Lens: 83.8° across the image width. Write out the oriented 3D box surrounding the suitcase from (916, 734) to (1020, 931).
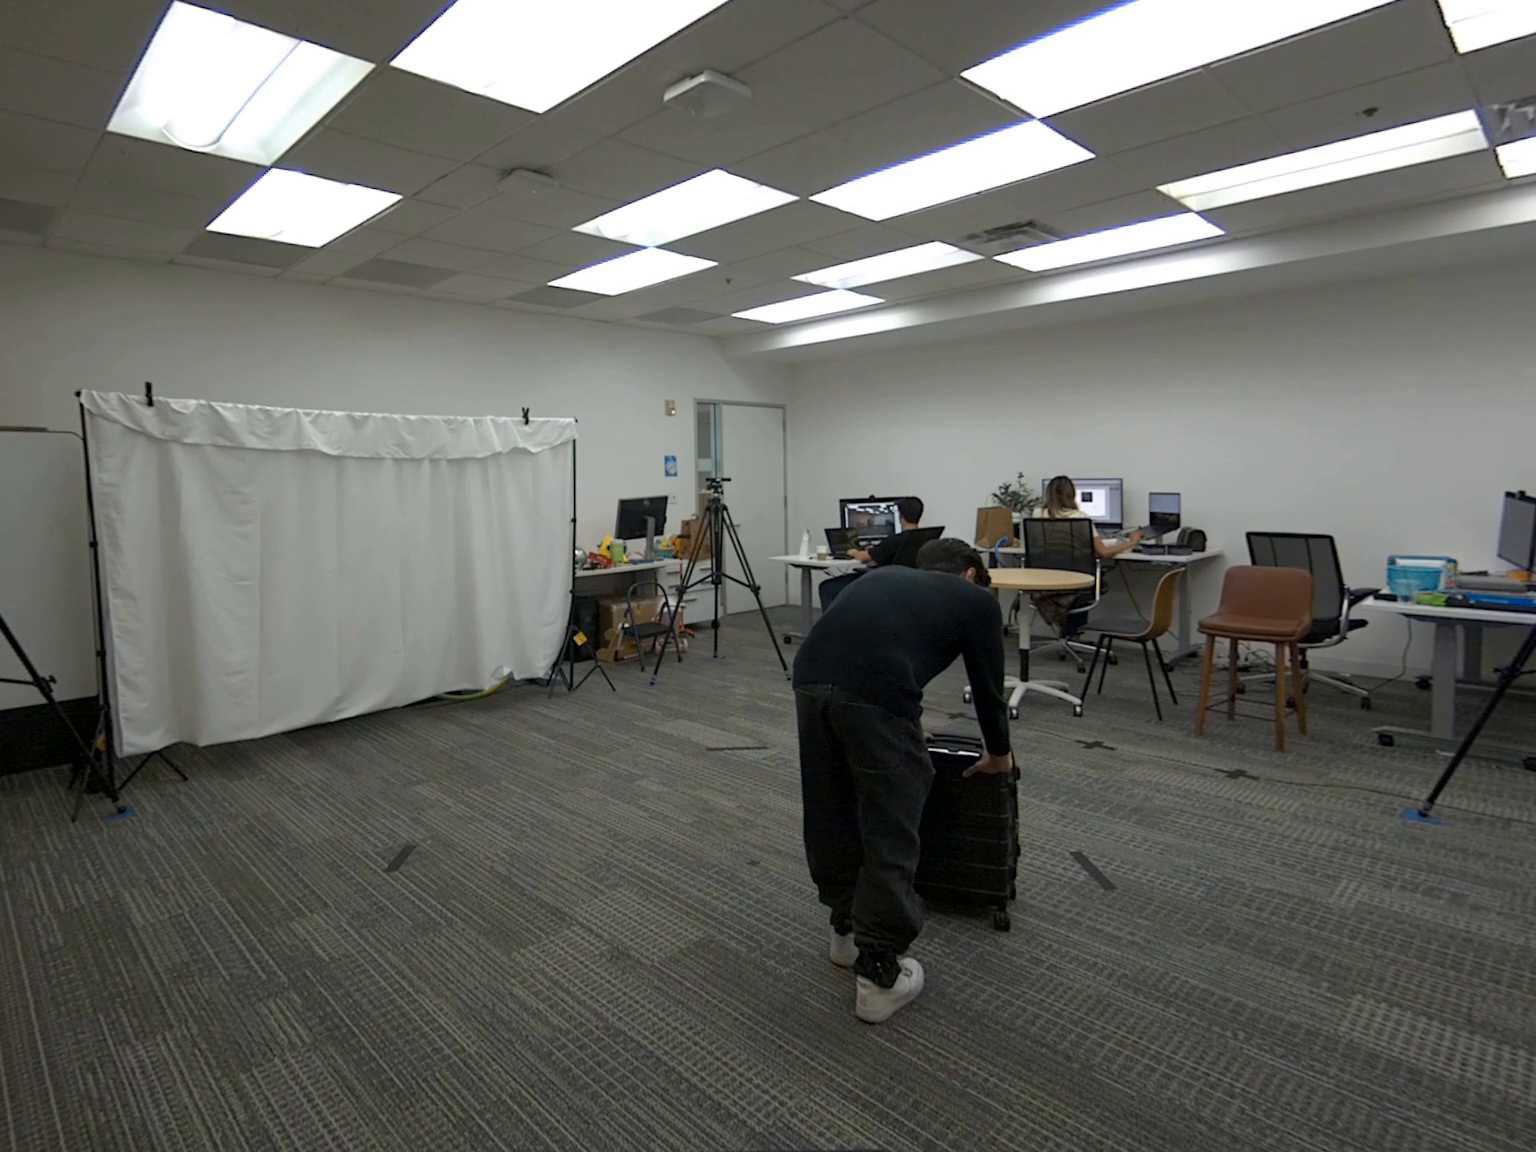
[{"bbox_3d":[0.627,0.792,2.788,0.384,0.548,0.243,1,3,25],"label":"suitcase"}]
